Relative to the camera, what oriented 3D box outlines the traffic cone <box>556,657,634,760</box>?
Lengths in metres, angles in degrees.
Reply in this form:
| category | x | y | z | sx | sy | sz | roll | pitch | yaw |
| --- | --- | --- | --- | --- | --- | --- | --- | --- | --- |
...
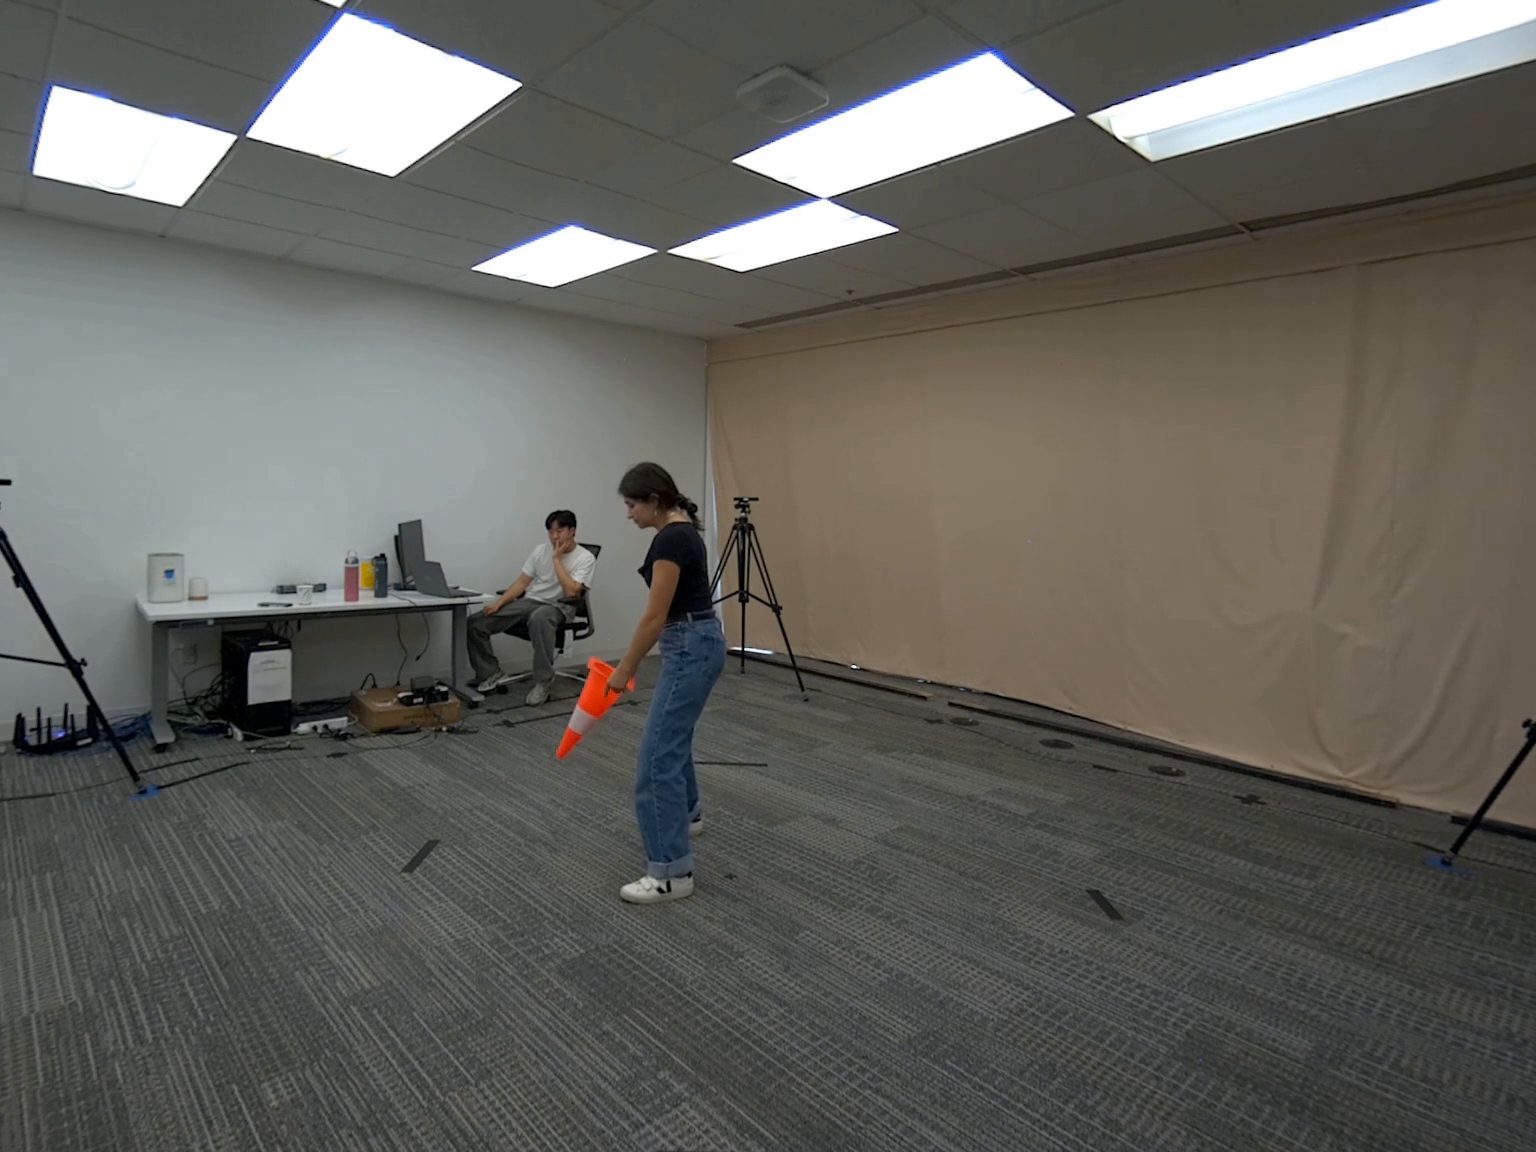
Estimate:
| category | x | y | z | sx | sy | sz | roll | pitch | yaw |
| --- | --- | --- | --- | --- | --- | --- | --- | --- | --- |
| traffic cone | -0.707 | 0.542 | 3.207 | 0.202 | 0.384 | 0.206 | 34 | -2 | -13 |
